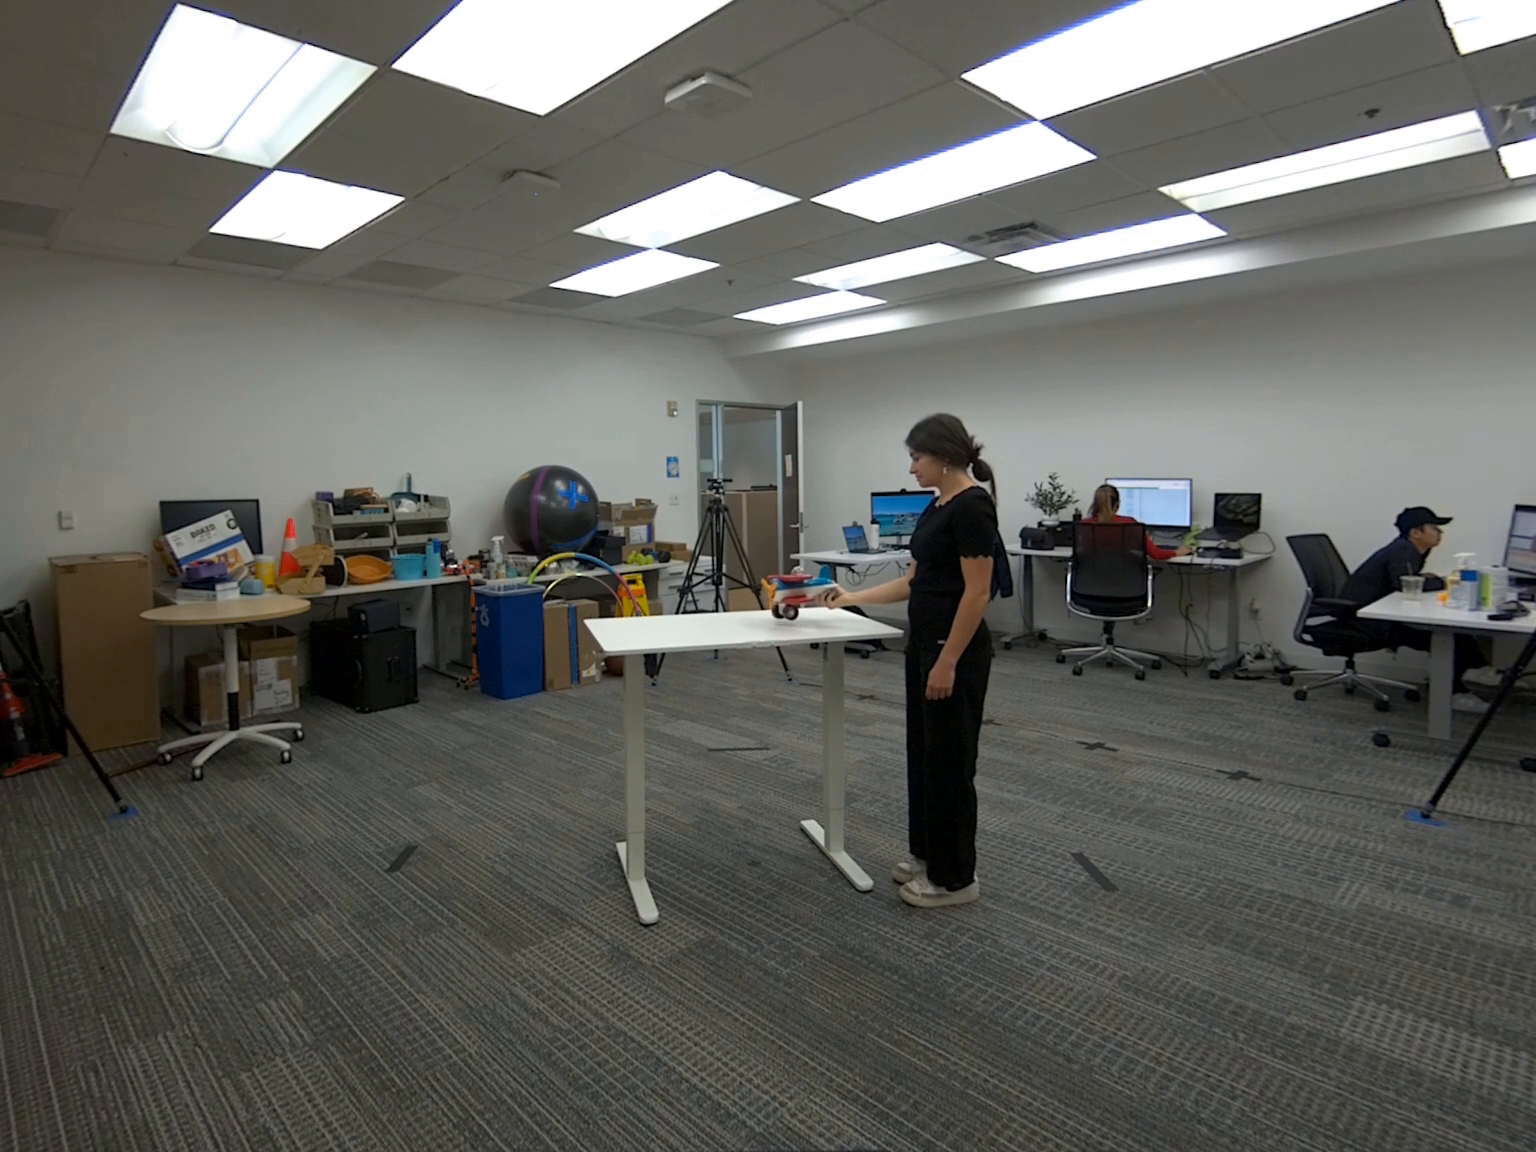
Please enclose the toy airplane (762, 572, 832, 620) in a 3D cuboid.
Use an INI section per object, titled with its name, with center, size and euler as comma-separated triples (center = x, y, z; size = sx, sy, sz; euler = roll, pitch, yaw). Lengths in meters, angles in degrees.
[toy airplane]
center = 0.111, 0.049, 3.052
size = 0.257, 0.155, 0.256
euler = -10, 12, 39
